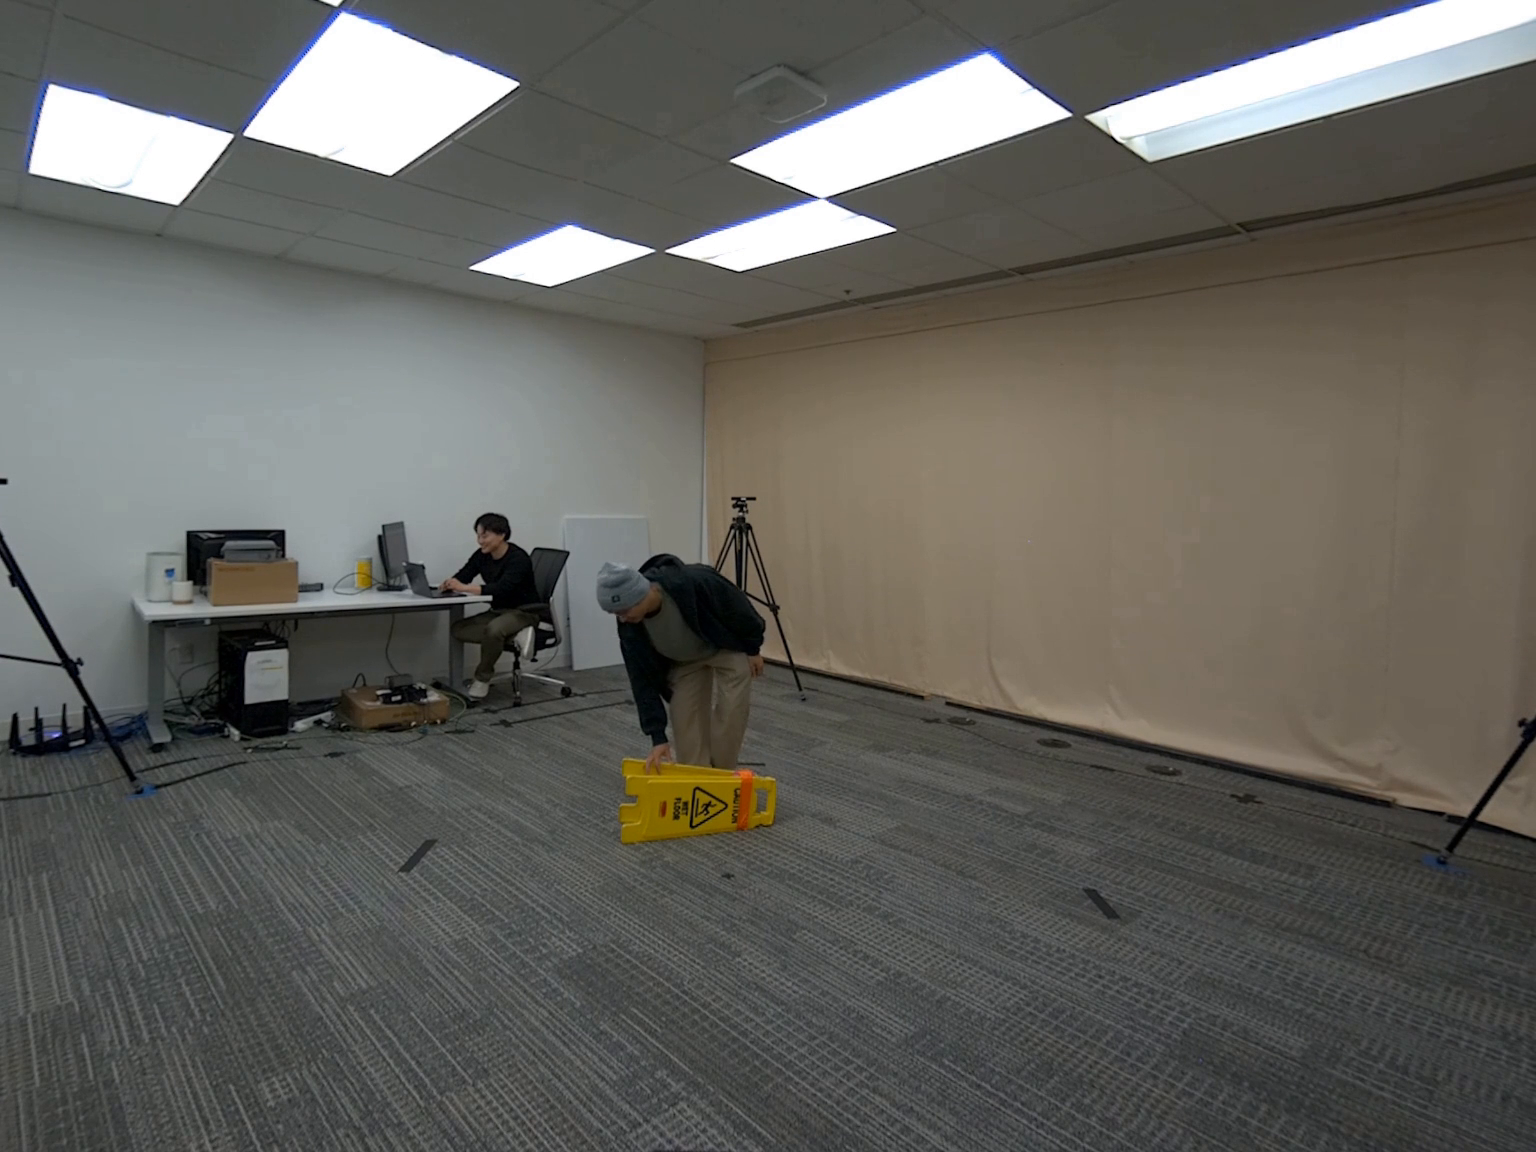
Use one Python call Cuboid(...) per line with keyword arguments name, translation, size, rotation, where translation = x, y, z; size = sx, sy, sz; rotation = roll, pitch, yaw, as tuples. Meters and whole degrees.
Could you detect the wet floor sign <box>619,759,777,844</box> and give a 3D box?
Cuboid(name="wet floor sign", translation=(-0.297, 0.937, 3.543), size=(0.640, 0.281, 0.293), rotation=(4, 5, -11))
